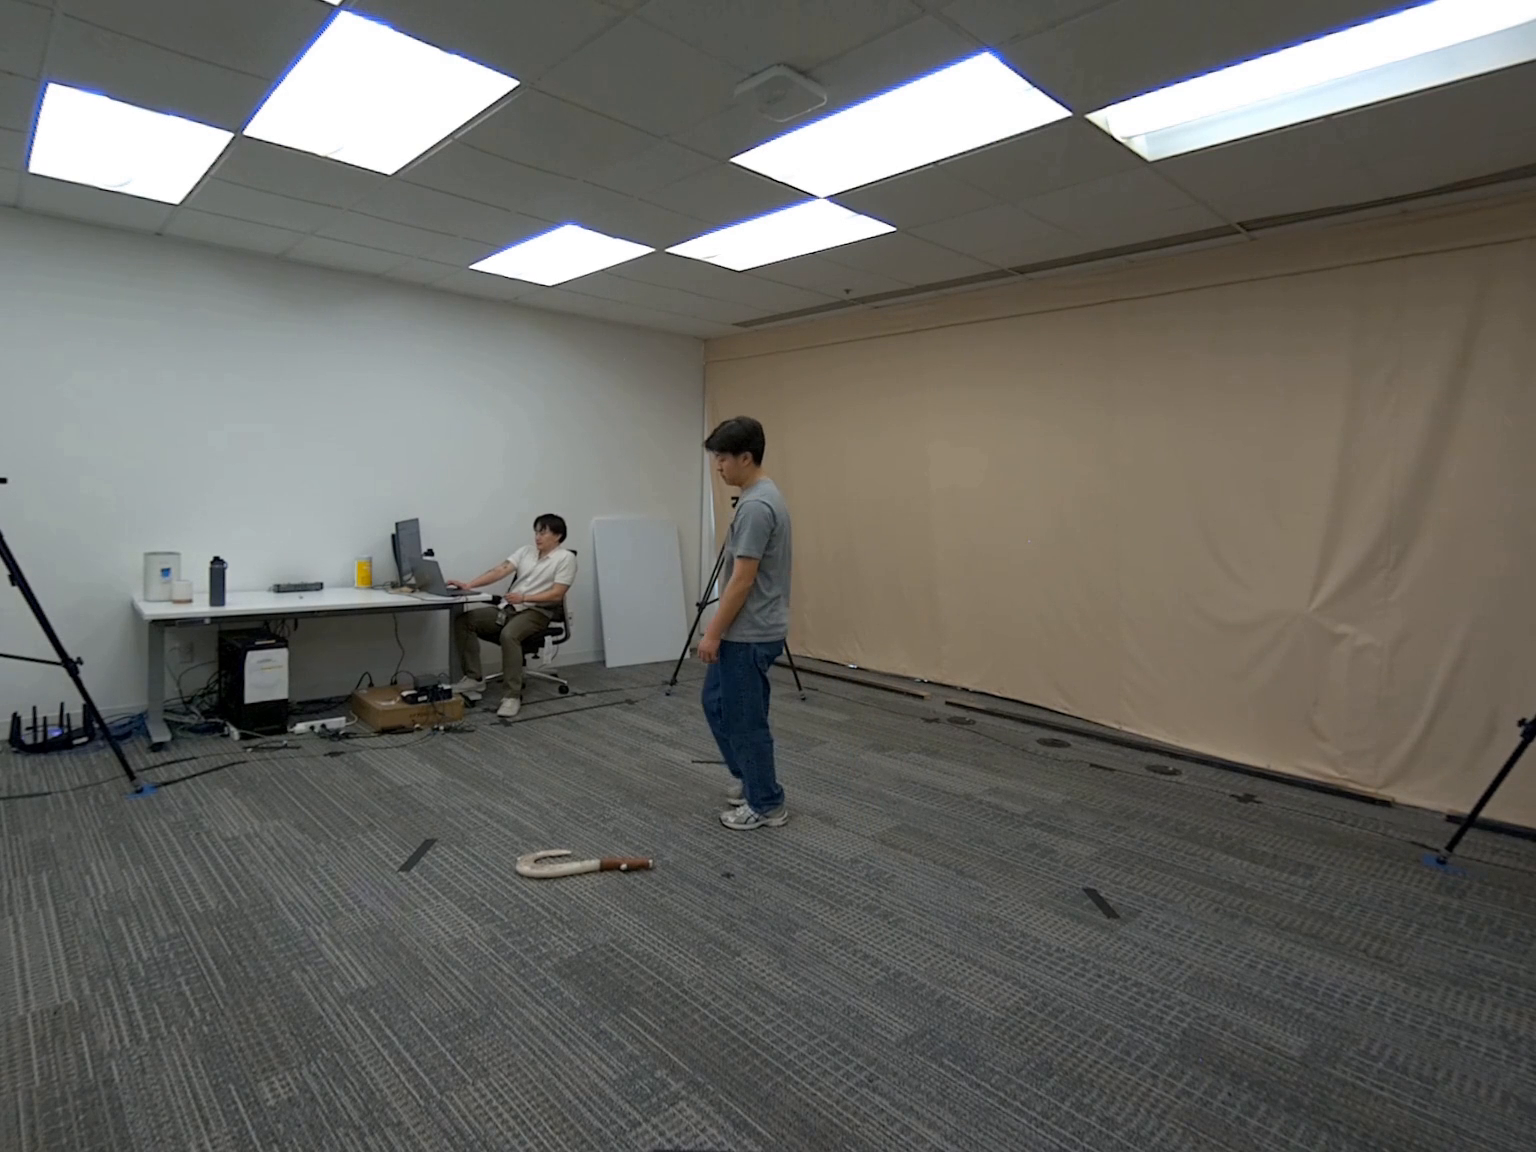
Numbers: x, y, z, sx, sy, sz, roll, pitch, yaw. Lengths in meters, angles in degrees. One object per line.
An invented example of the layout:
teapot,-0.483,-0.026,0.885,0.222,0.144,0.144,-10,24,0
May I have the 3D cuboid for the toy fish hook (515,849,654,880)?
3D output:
toy fish hook,-0.688,1.063,3.154,0.503,0.048,0.227,1,6,-8
